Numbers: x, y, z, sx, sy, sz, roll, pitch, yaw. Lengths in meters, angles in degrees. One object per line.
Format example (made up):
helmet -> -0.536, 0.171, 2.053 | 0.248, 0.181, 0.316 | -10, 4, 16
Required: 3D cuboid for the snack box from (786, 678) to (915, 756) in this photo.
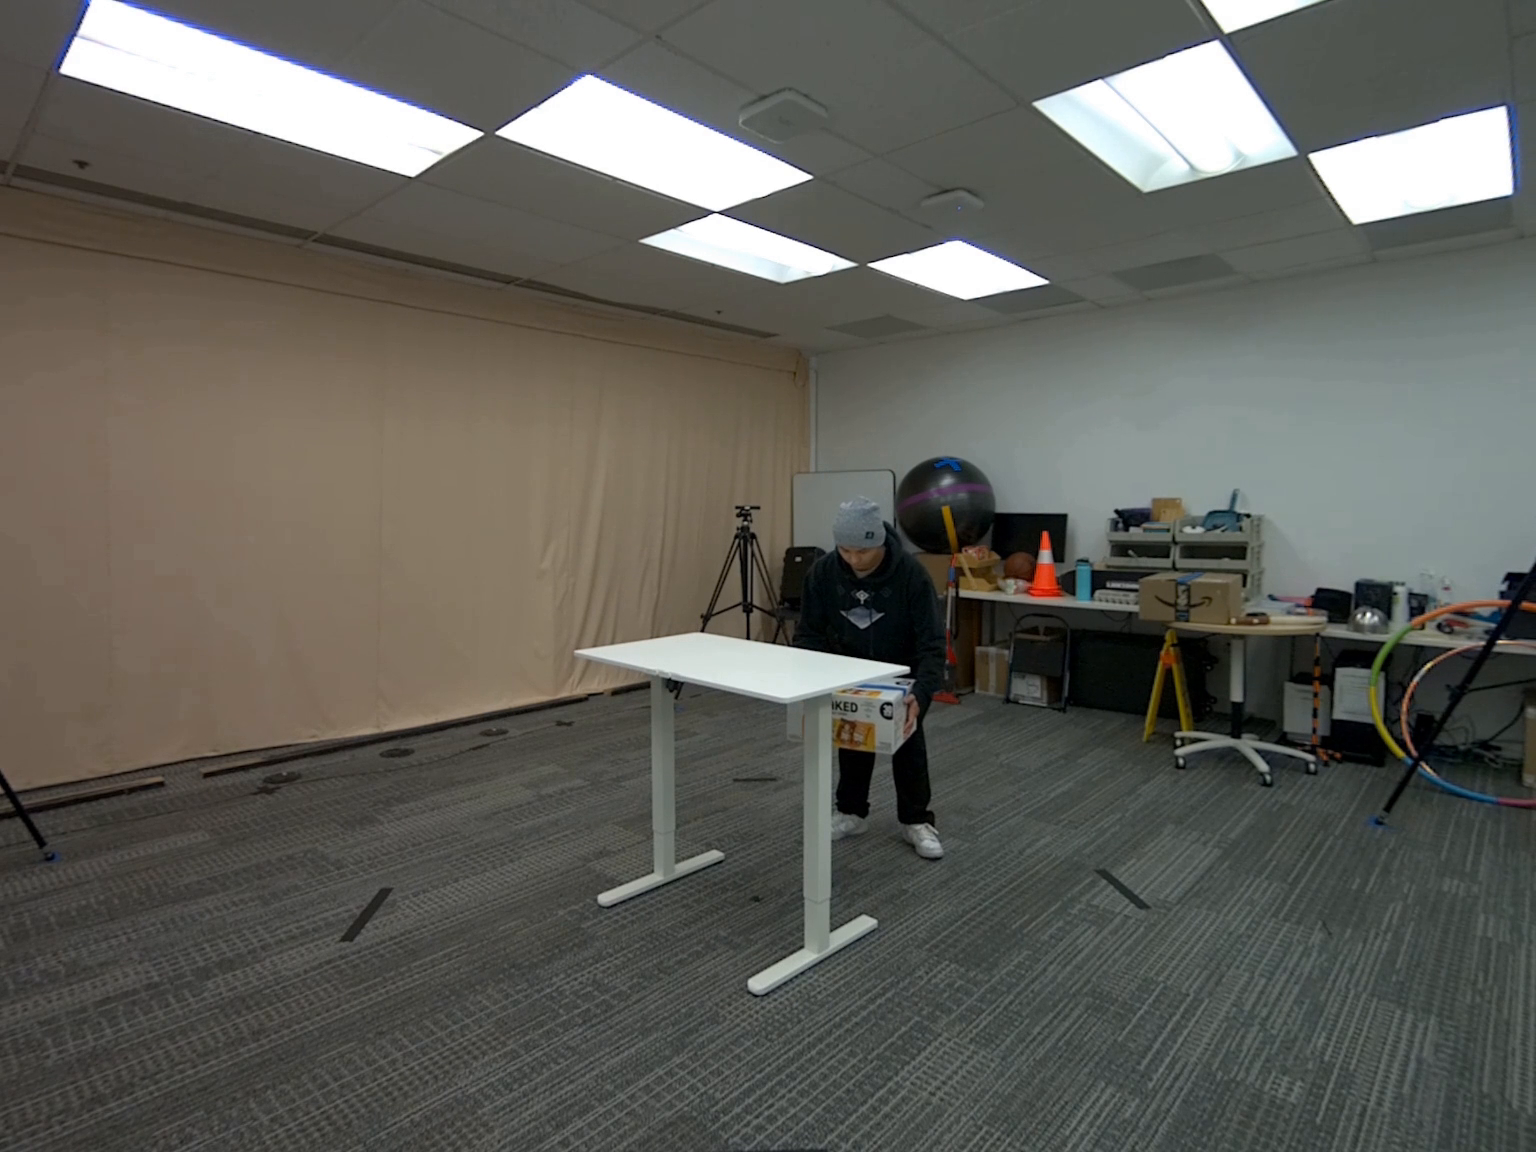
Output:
snack box -> 0.328, 0.509, 3.218 | 0.416, 0.205, 0.333 | 3, 7, 25
